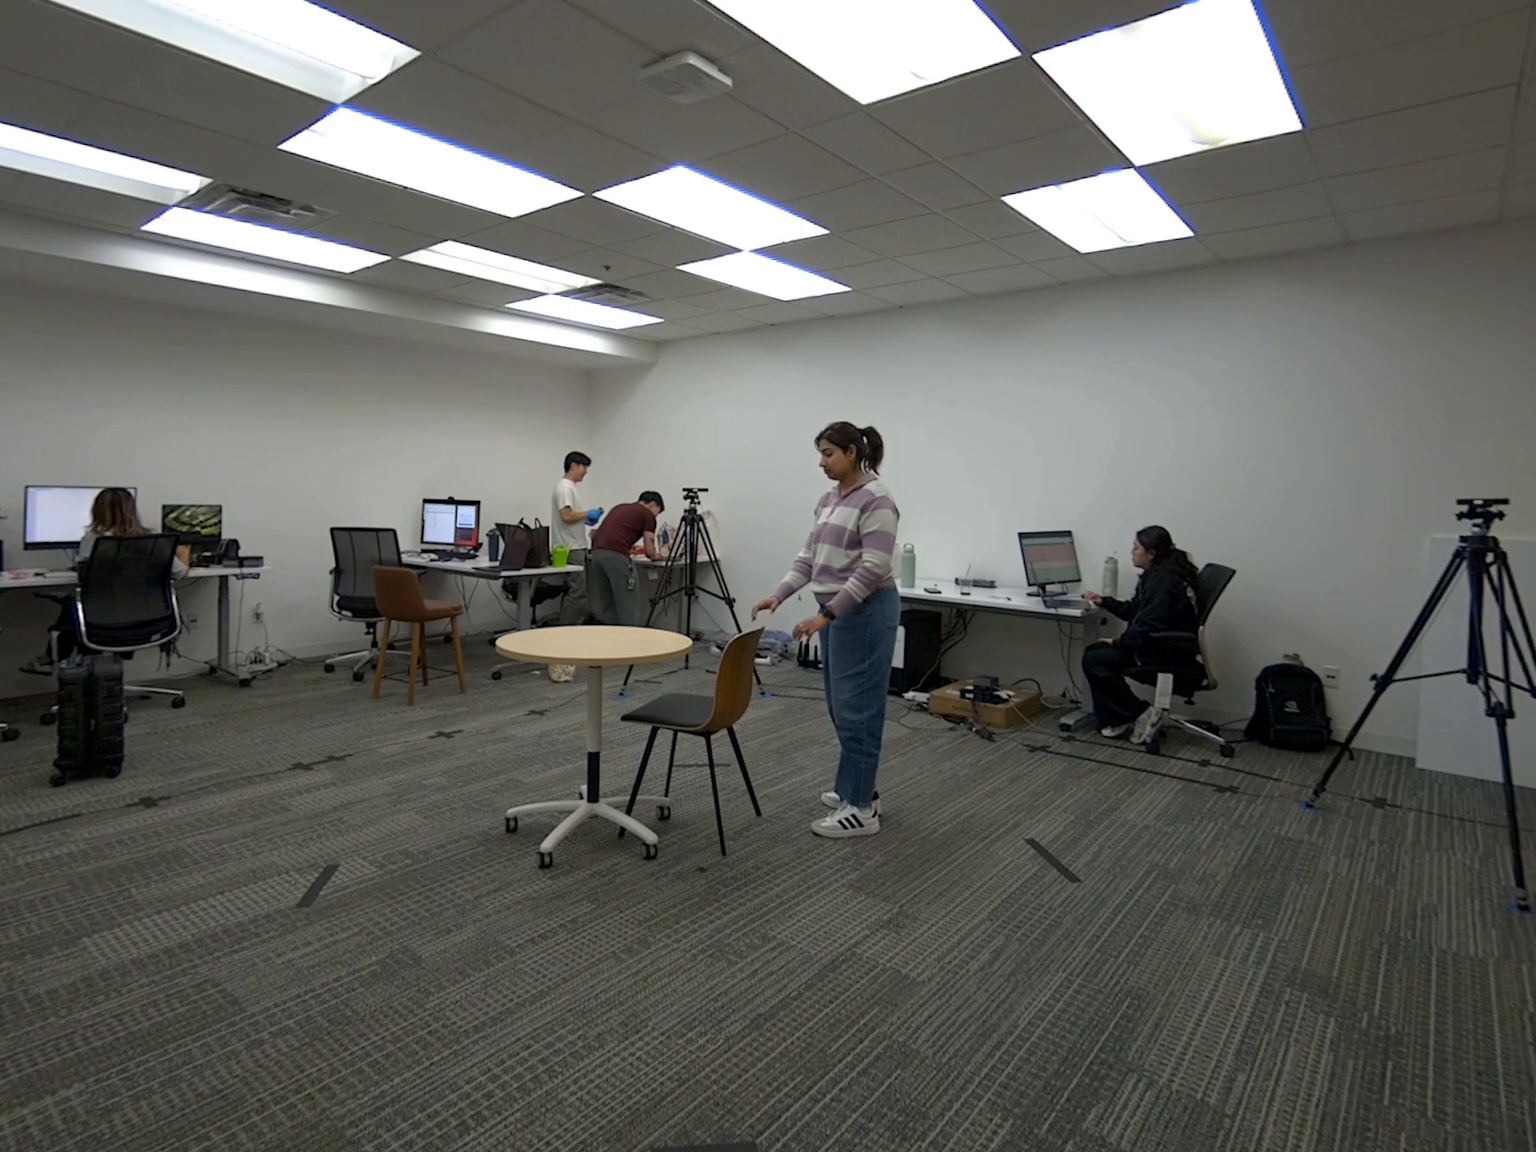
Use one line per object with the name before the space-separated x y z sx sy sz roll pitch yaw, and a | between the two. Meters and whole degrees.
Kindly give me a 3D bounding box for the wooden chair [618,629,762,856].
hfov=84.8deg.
wooden chair | -0.323 0.607 3.478 0.535 0.874 0.469 6 5 19
